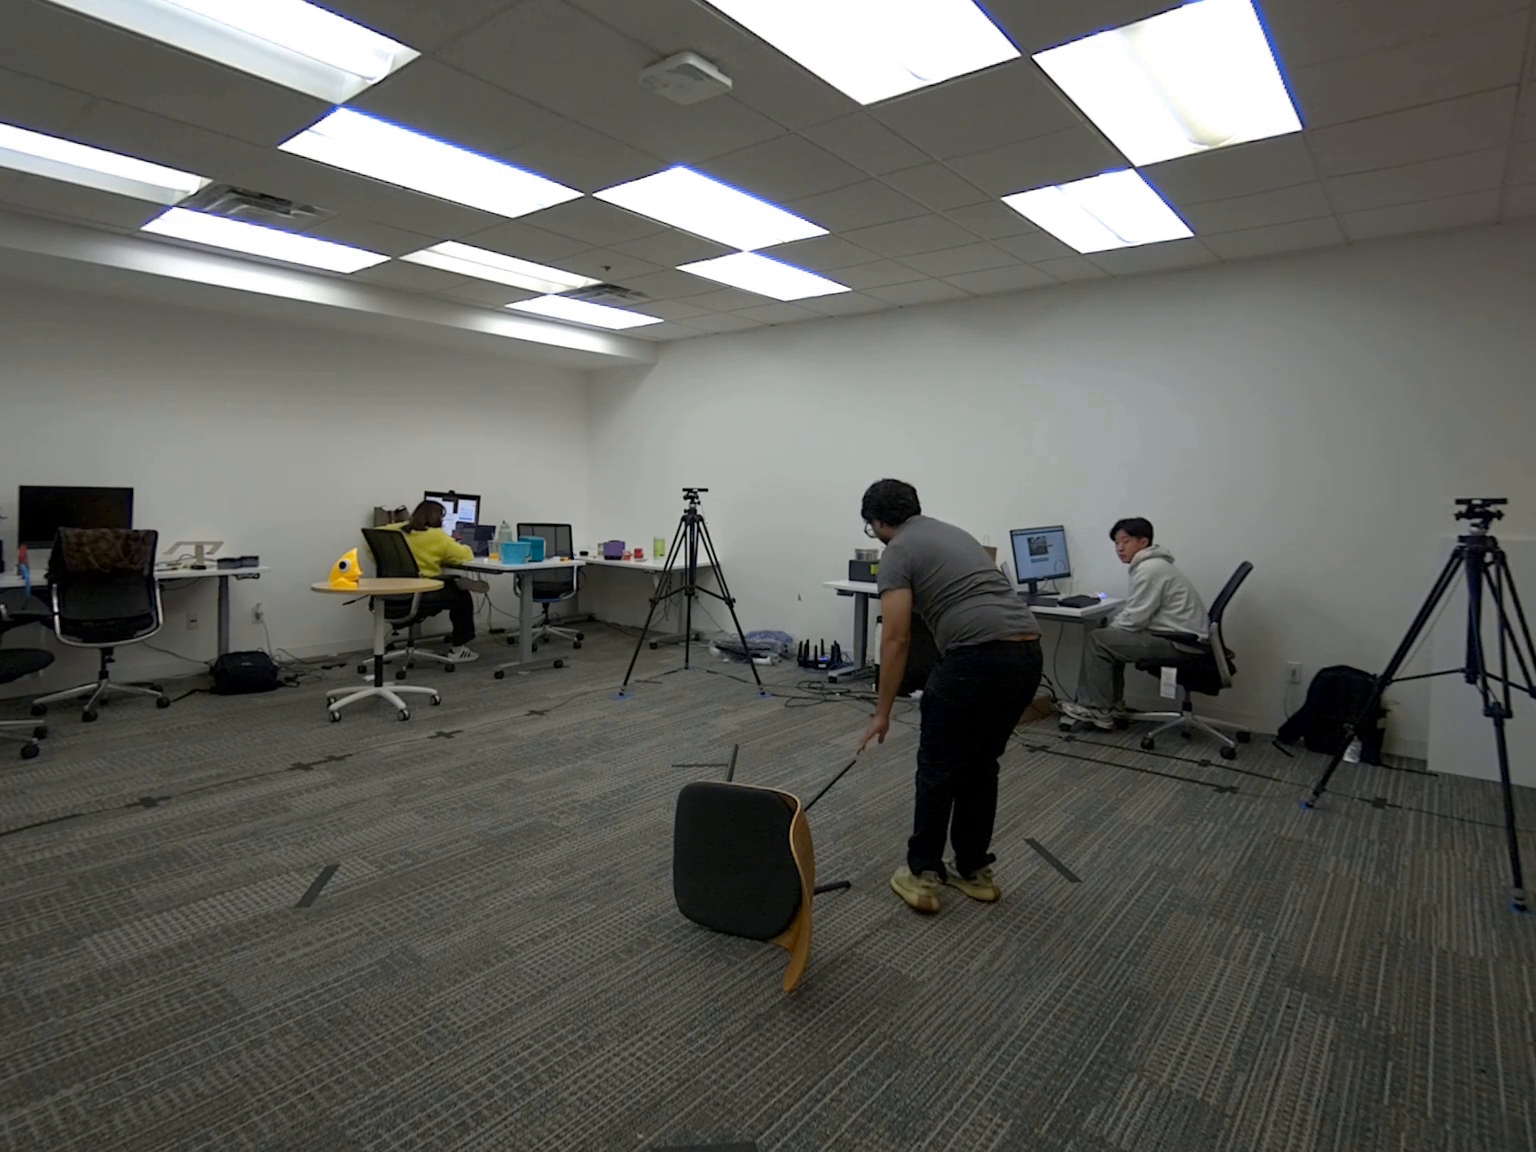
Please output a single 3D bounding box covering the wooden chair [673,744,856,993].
[{"bbox_3d":[-0.057,0.882,2.673,0.531,0.476,0.867,3,5,13],"label":"wooden chair"}]
